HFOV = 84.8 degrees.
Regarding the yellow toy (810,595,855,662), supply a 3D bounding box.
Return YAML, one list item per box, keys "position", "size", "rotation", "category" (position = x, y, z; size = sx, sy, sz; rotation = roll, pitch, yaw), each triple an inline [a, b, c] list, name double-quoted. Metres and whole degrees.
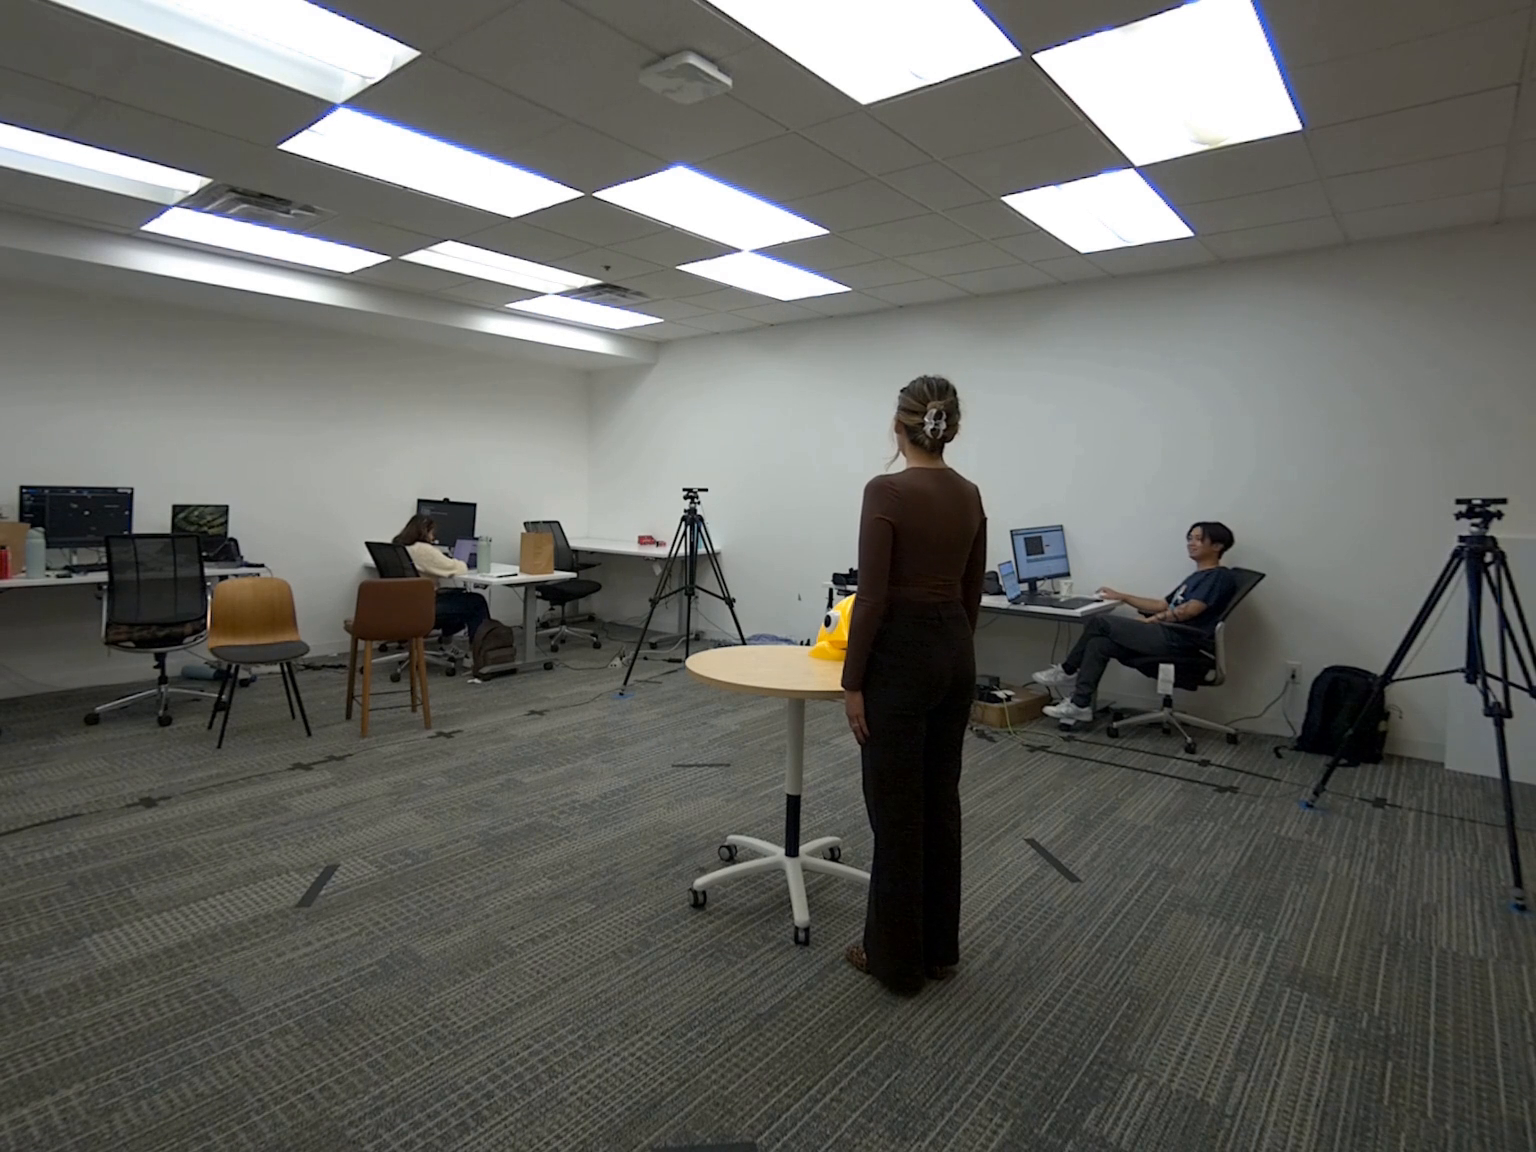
- position: [0.249, 0.170, 3.079]
  size: [0.199, 0.230, 0.199]
  rotation: [3, 4, 35]
  category: "yellow toy"
